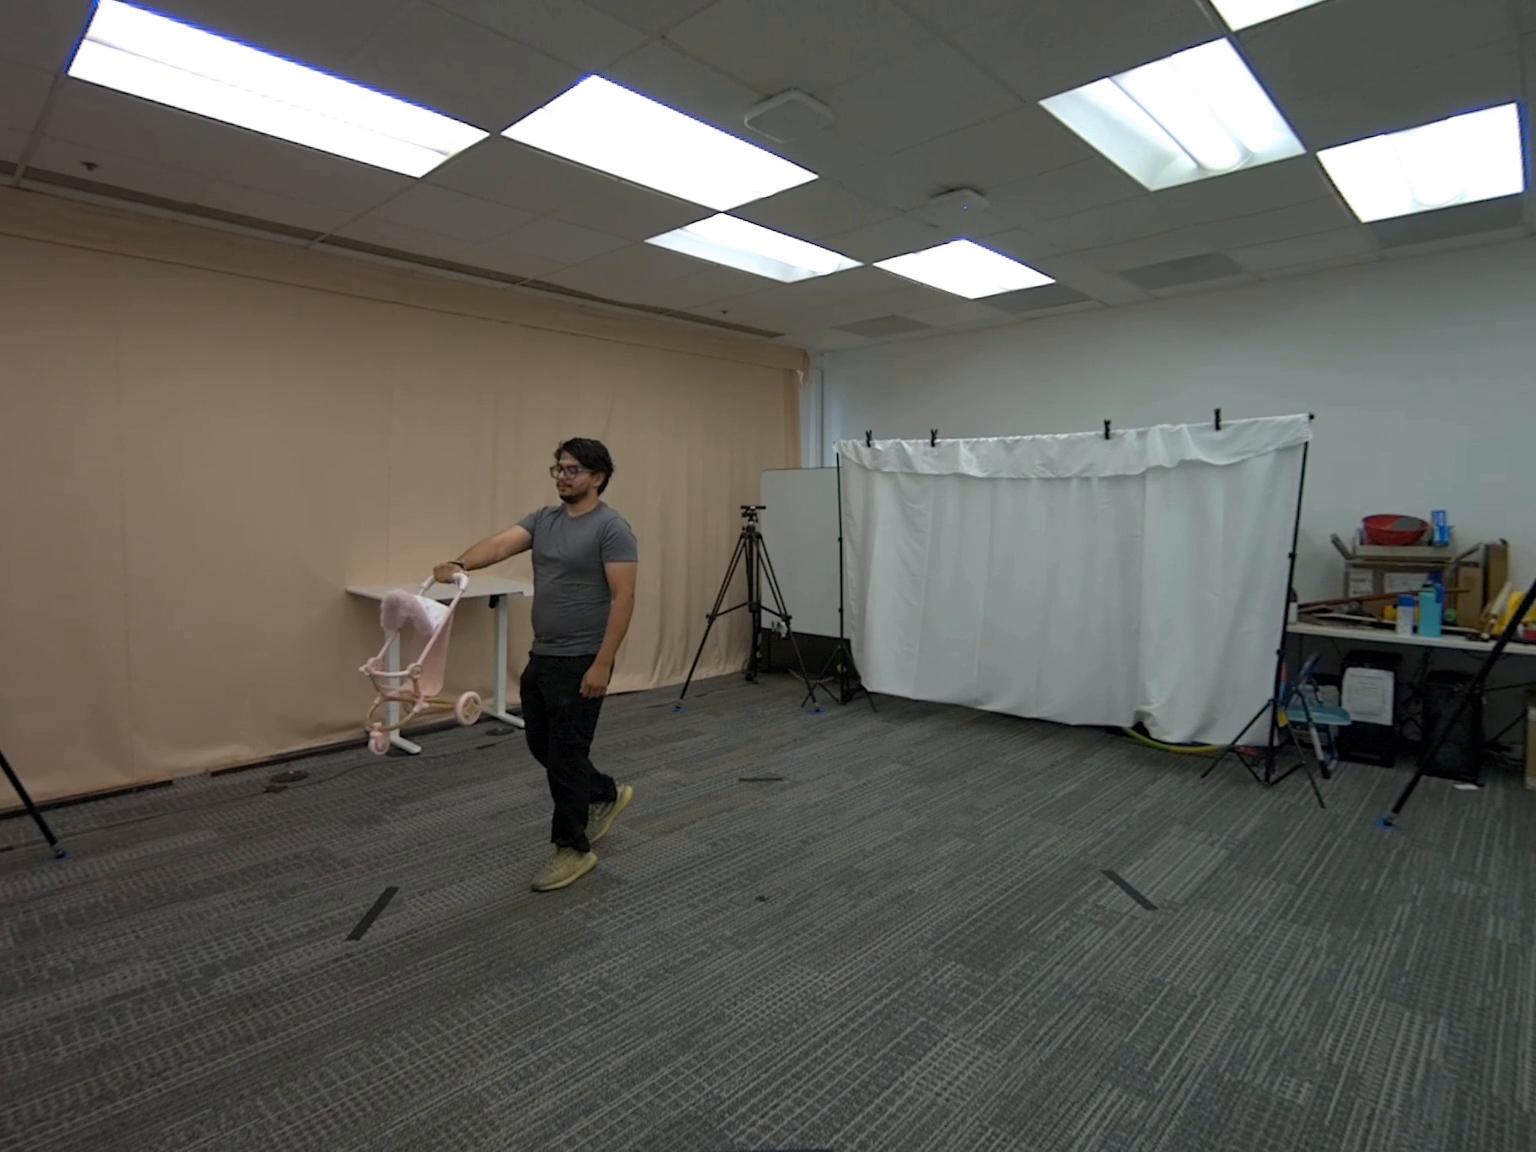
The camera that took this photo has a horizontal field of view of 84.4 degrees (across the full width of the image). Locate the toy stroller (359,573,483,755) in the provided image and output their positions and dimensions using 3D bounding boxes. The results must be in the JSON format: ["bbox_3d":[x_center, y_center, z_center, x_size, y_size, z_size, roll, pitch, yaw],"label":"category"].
[{"bbox_3d":[-1.120,0.272,2.675,0.290,0.534,0.332,2,4,34],"label":"toy stroller"}]
